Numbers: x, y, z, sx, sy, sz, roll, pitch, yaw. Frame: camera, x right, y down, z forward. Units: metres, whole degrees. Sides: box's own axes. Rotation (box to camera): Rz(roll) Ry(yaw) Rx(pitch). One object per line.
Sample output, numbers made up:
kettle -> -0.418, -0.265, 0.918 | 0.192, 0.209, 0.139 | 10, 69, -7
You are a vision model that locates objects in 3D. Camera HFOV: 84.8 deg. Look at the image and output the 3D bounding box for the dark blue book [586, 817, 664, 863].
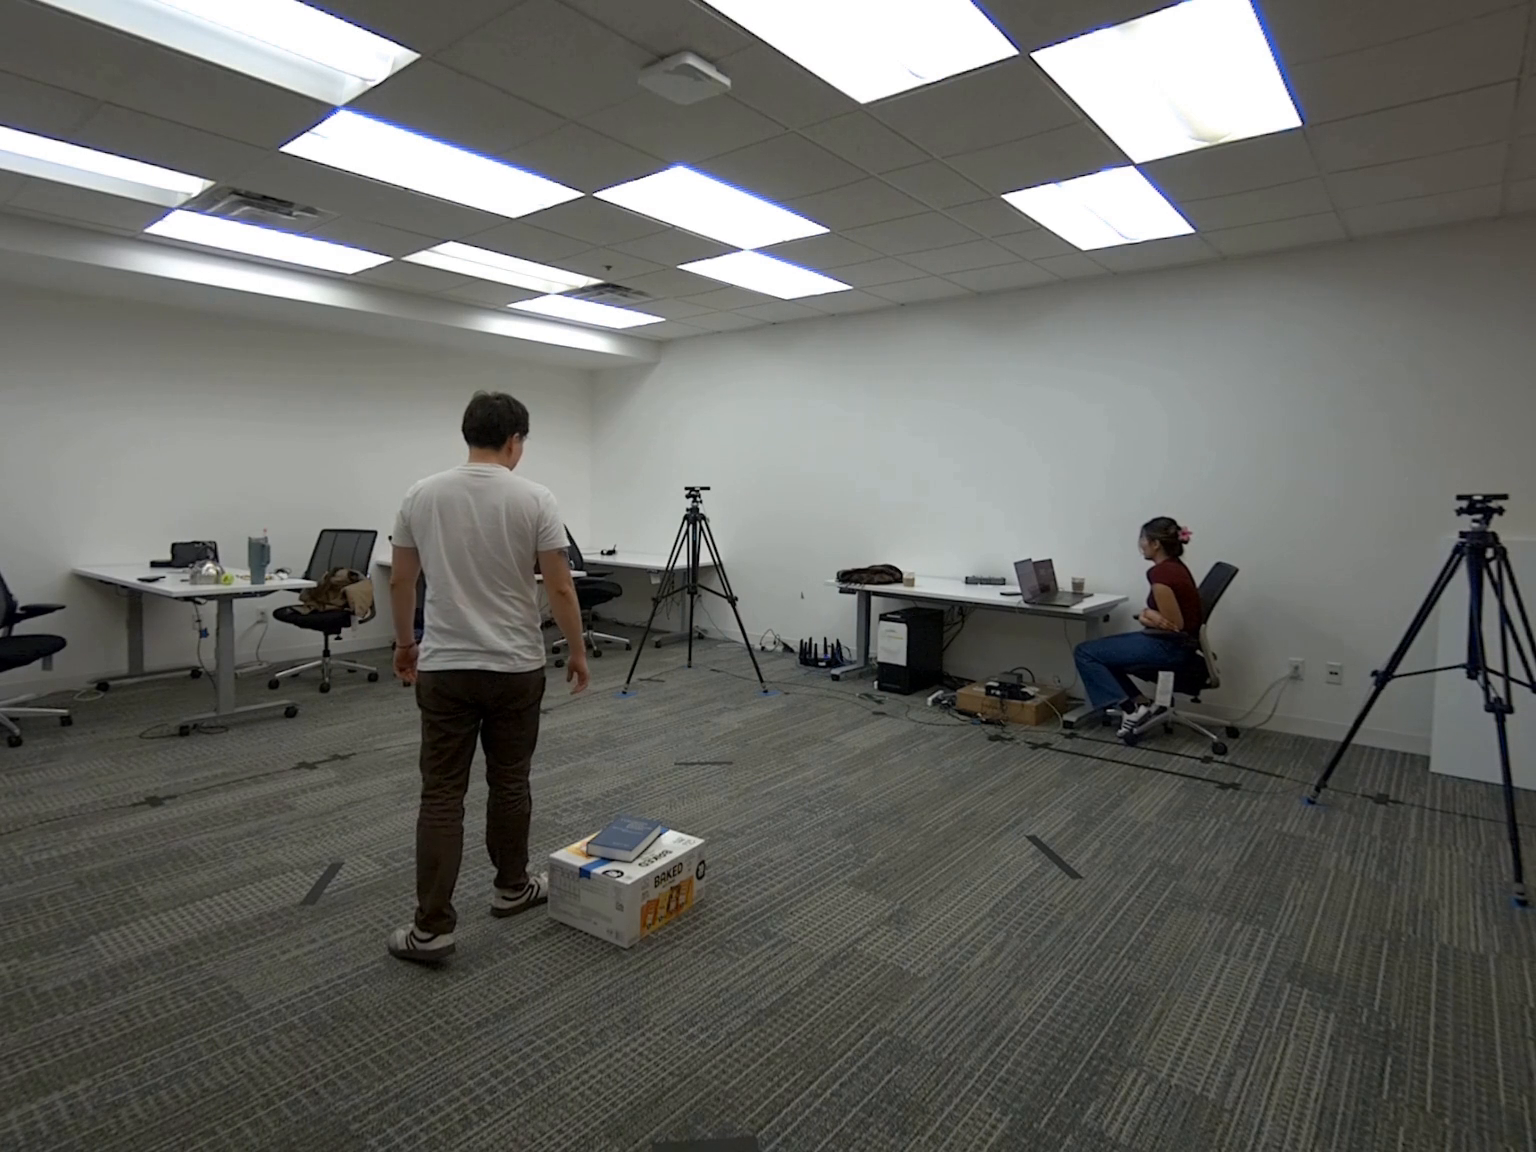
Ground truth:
dark blue book -> -0.496, 0.873, 2.827 | 0.167, 0.045, 0.241 | 3, 7, 18
